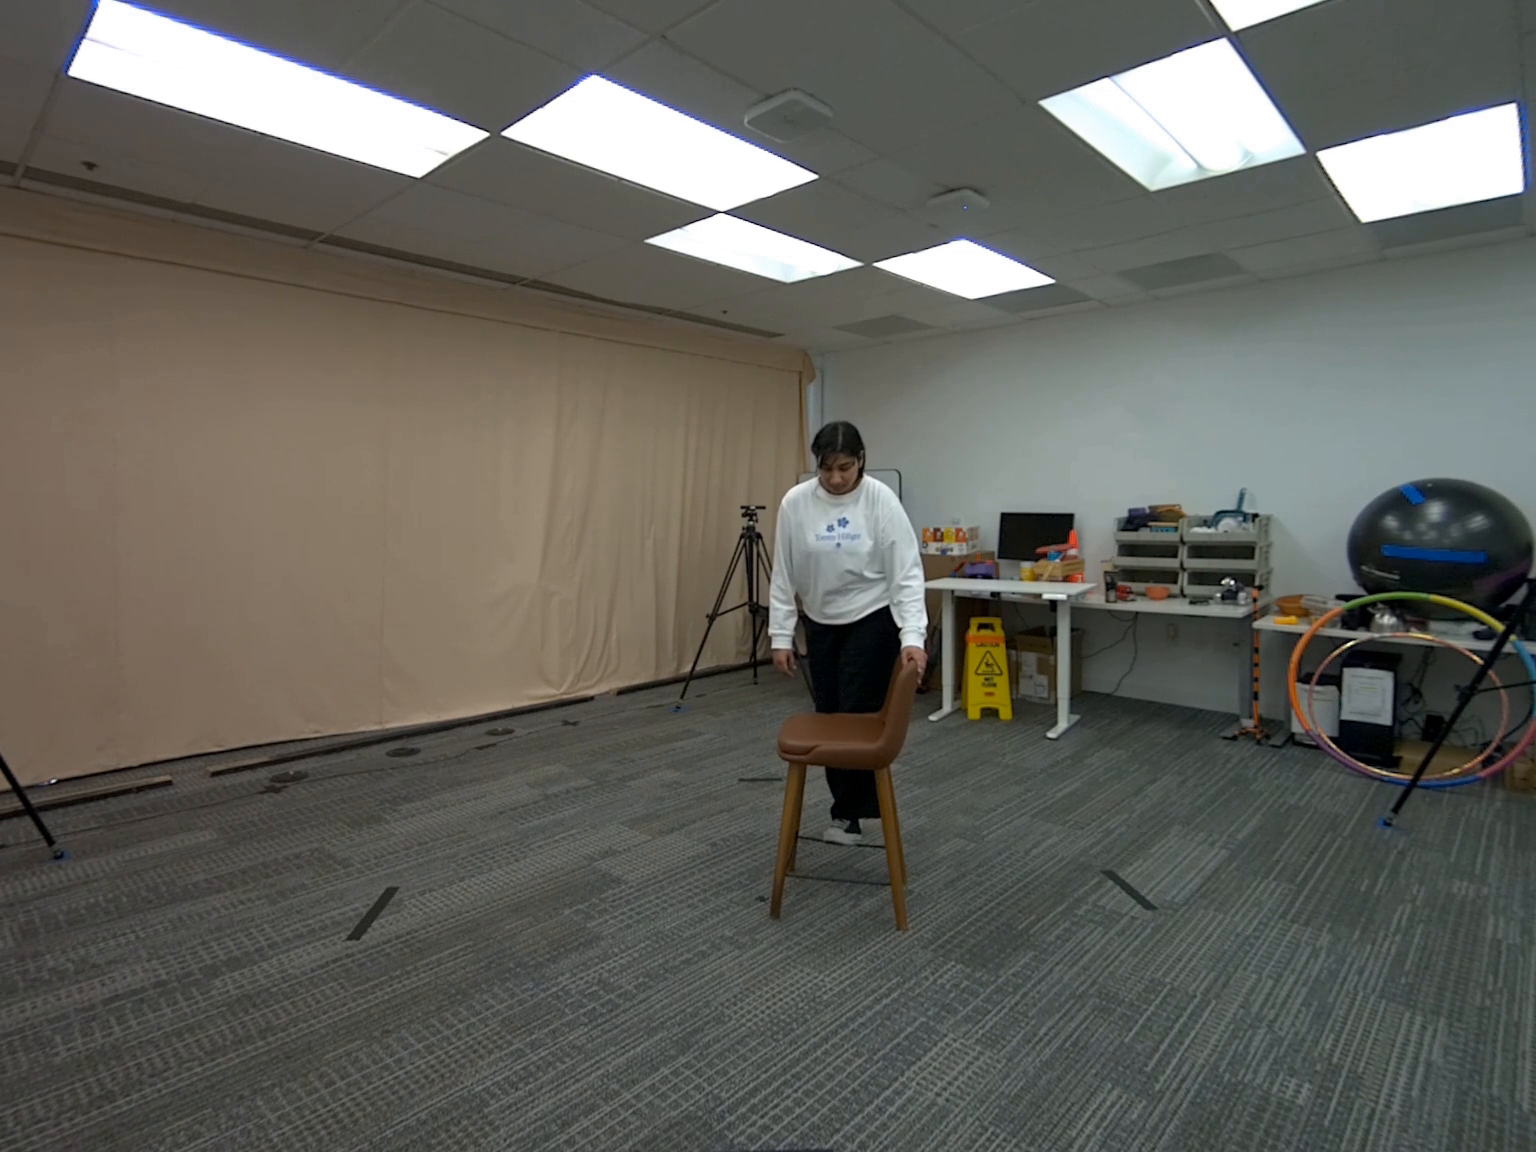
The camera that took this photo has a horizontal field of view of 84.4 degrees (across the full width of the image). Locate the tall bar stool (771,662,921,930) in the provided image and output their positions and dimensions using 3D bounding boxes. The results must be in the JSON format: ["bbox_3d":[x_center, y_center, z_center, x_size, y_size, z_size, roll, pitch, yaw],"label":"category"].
[{"bbox_3d":[0.273,0.704,2.959,0.474,0.888,0.451,3,3,12],"label":"tall bar stool"}]
